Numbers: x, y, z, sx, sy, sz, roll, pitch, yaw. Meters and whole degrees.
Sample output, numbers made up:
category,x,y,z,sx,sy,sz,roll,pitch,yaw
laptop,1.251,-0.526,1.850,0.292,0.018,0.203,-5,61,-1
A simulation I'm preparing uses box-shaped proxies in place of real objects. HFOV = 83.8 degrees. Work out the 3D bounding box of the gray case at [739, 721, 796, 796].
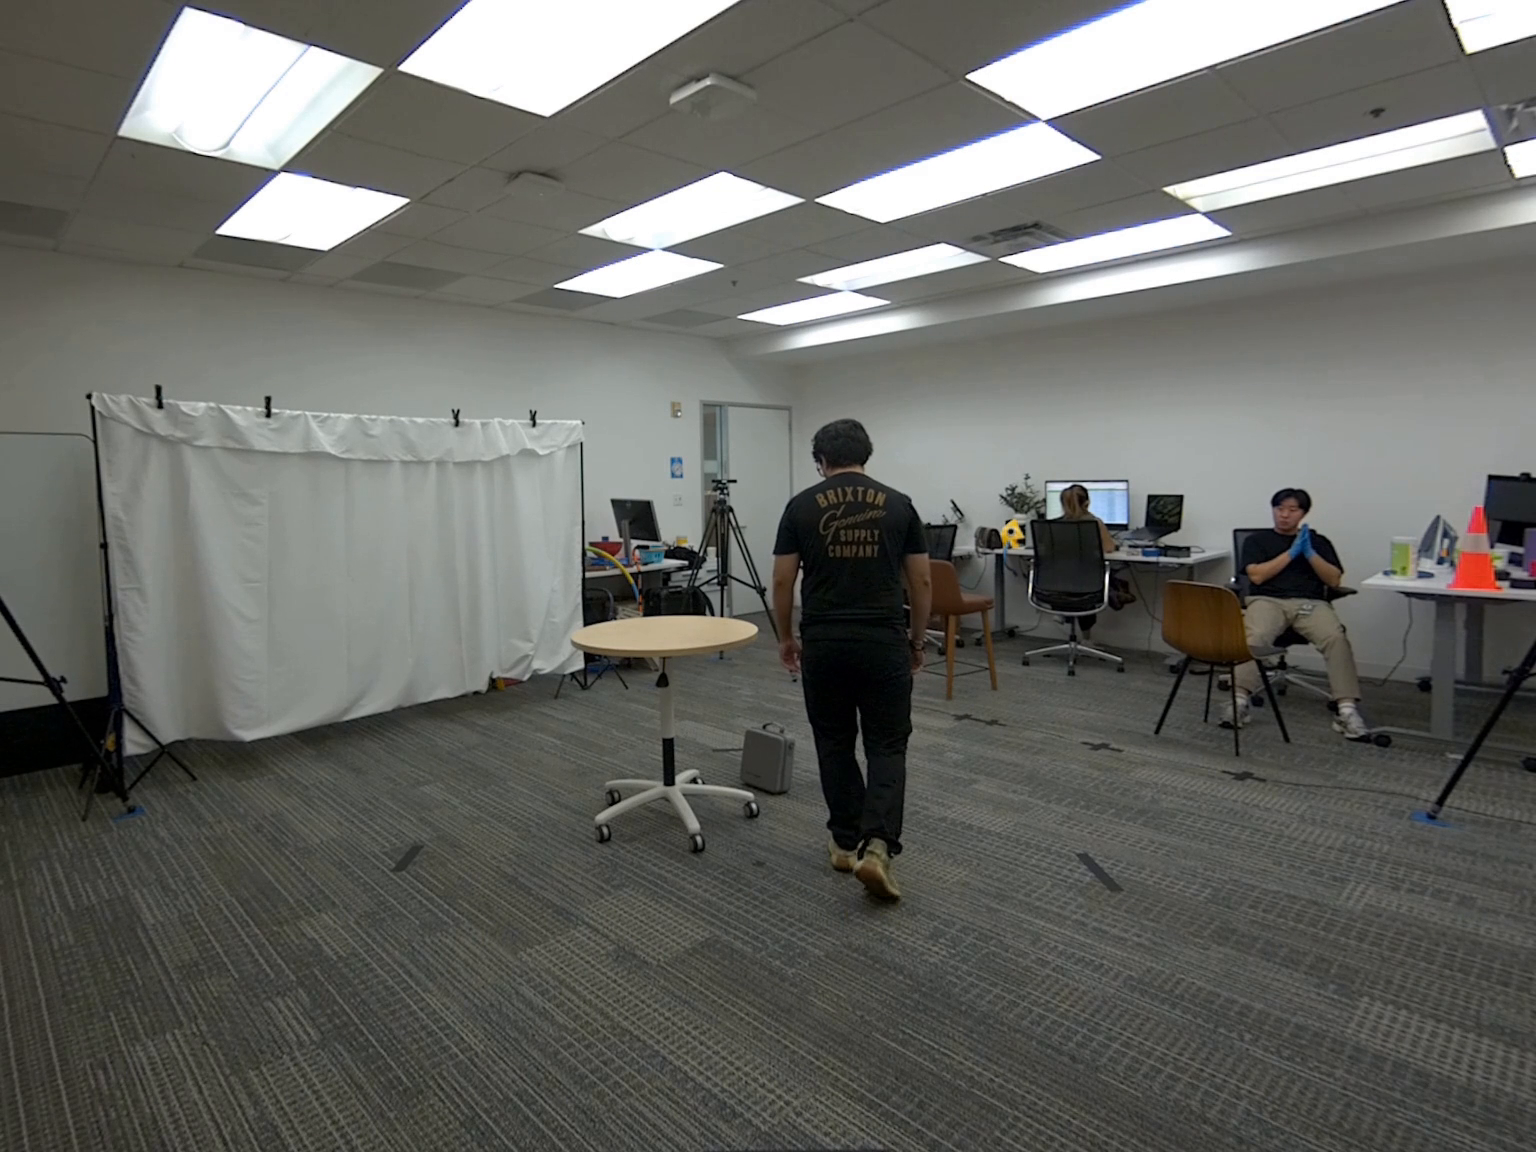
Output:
category,x,y,z,sx,sy,sz,roll,pitch,yaw
gray case,-0.001,0.826,3.887,0.101,0.261,0.264,9,-4,-42
